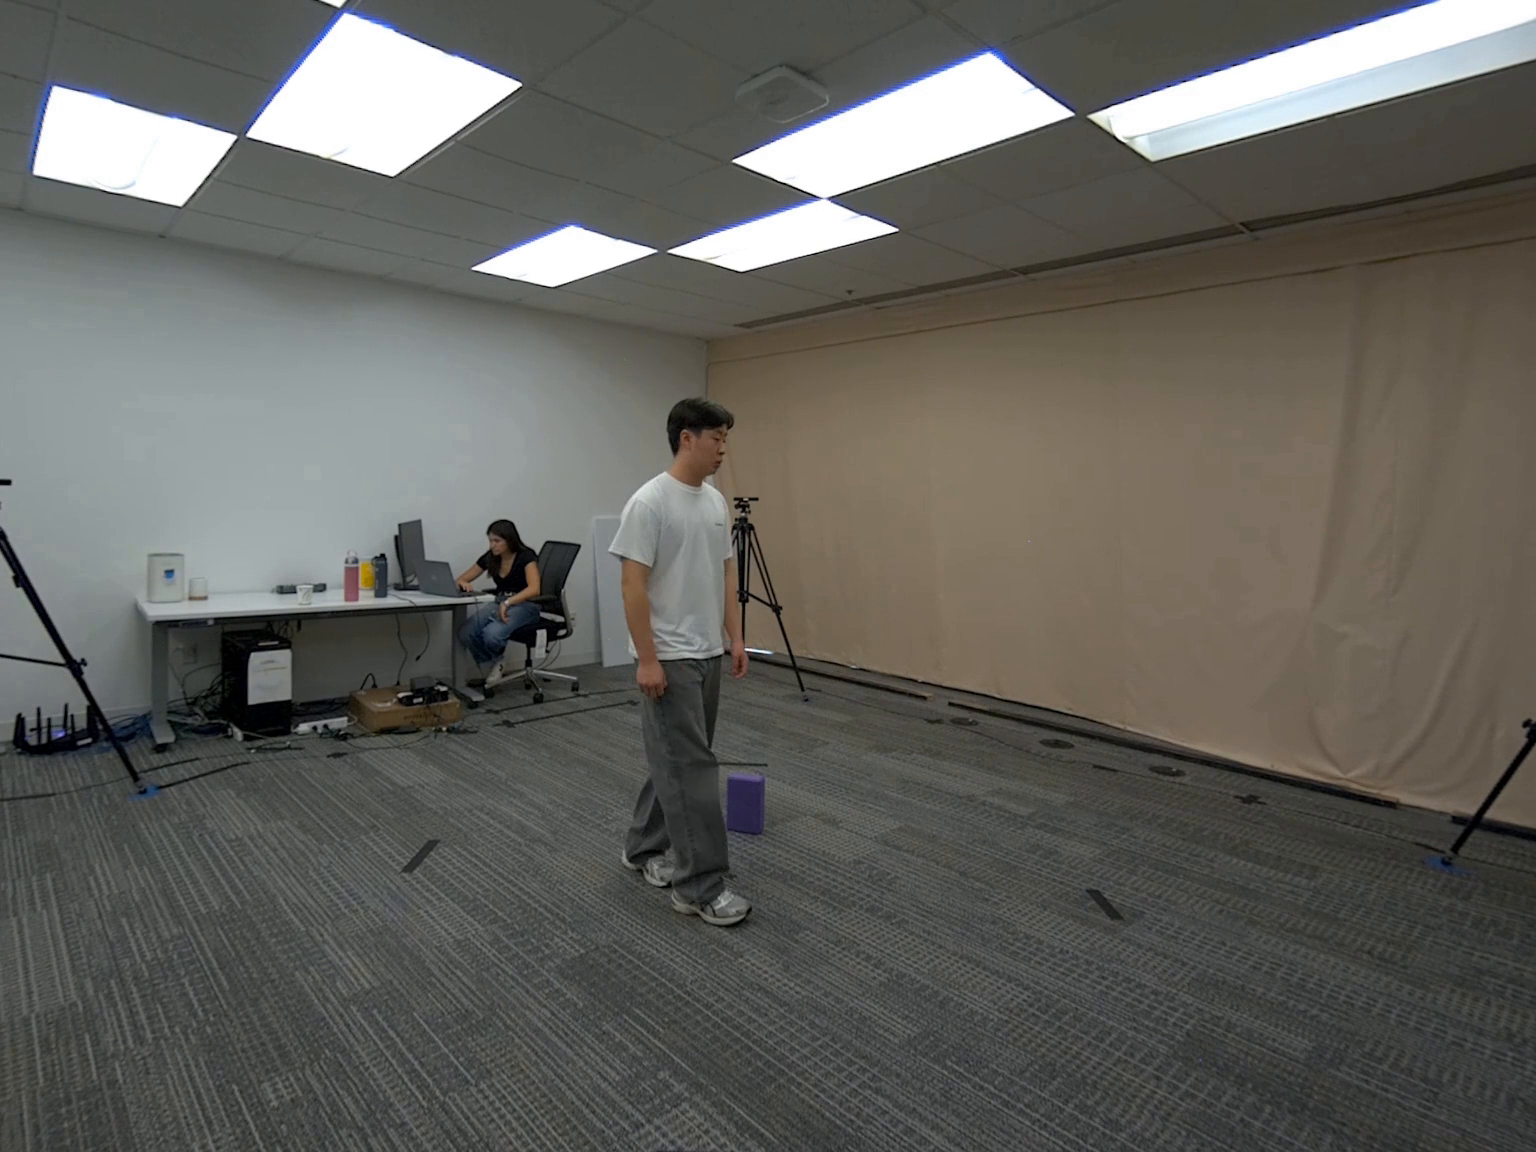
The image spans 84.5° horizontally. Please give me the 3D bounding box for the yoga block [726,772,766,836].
[{"bbox_3d":[-0.103,0.958,3.539,0.151,0.229,0.075,2,3,16],"label":"yoga block"}]
